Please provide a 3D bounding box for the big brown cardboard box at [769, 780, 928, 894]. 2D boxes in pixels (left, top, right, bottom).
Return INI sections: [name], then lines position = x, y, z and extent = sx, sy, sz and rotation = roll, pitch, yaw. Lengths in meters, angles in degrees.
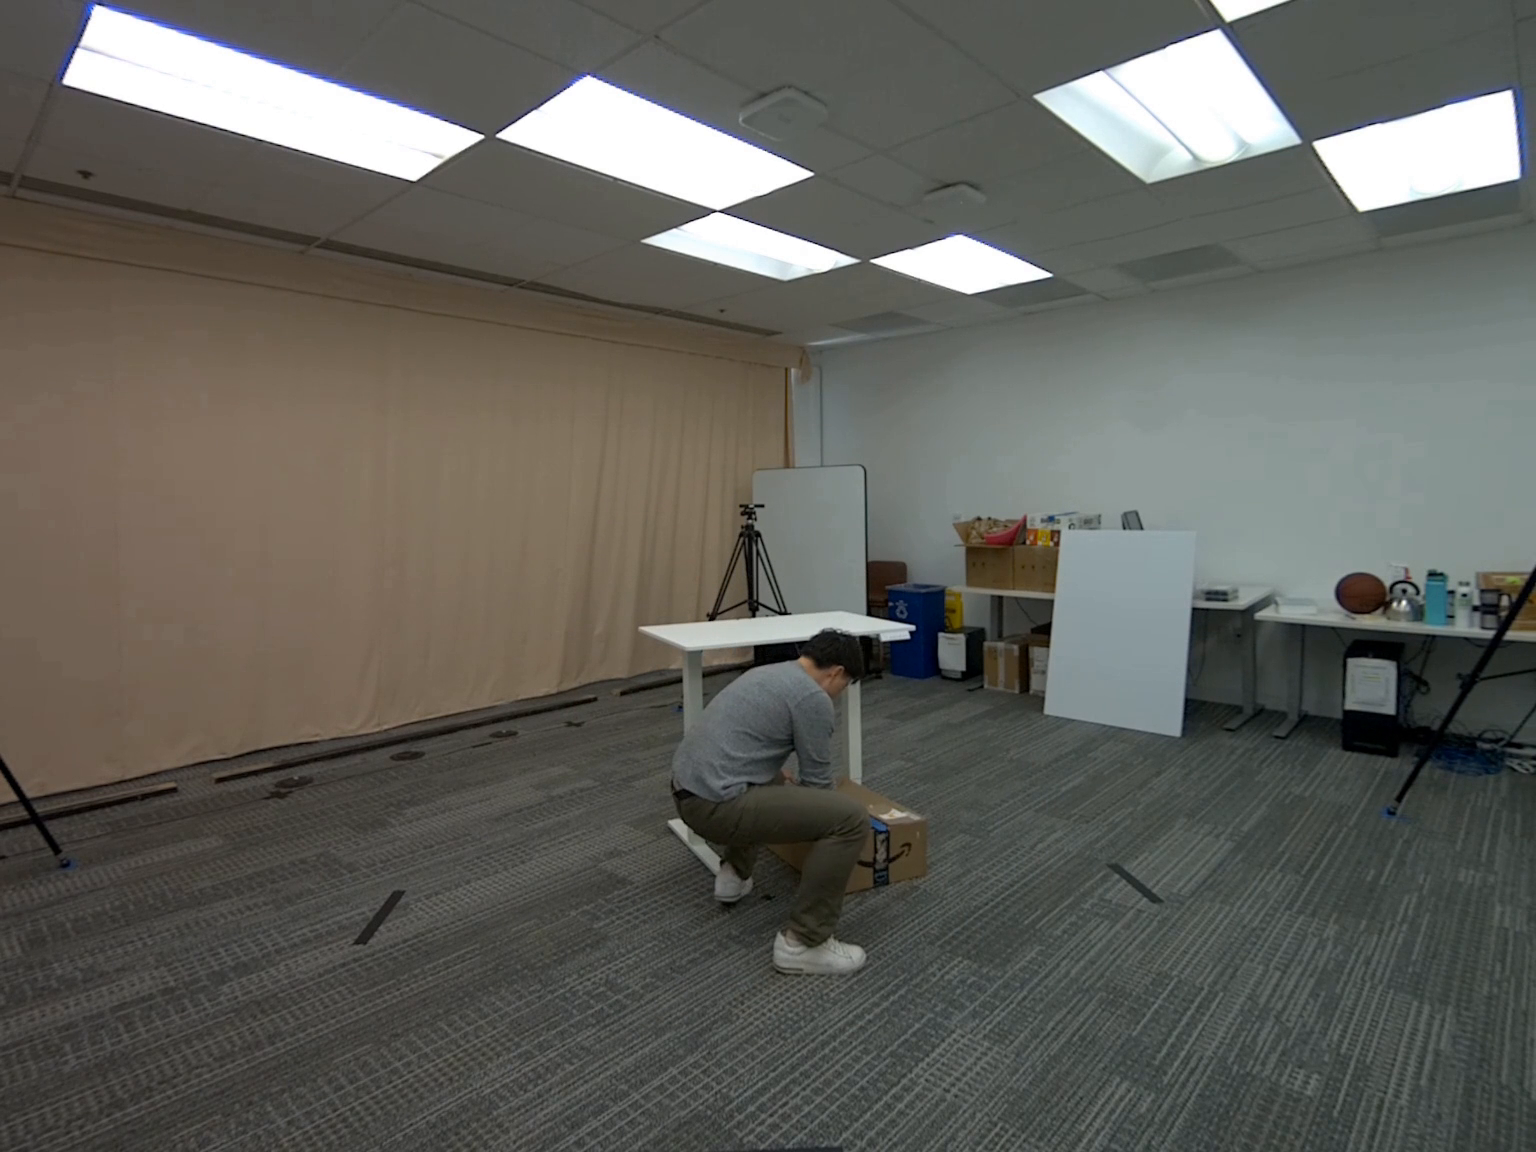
[big brown cardboard box]
position = 0.285, 0.996, 3.298
extent = 0.407, 0.232, 0.605
rotation = -3, 5, -28
